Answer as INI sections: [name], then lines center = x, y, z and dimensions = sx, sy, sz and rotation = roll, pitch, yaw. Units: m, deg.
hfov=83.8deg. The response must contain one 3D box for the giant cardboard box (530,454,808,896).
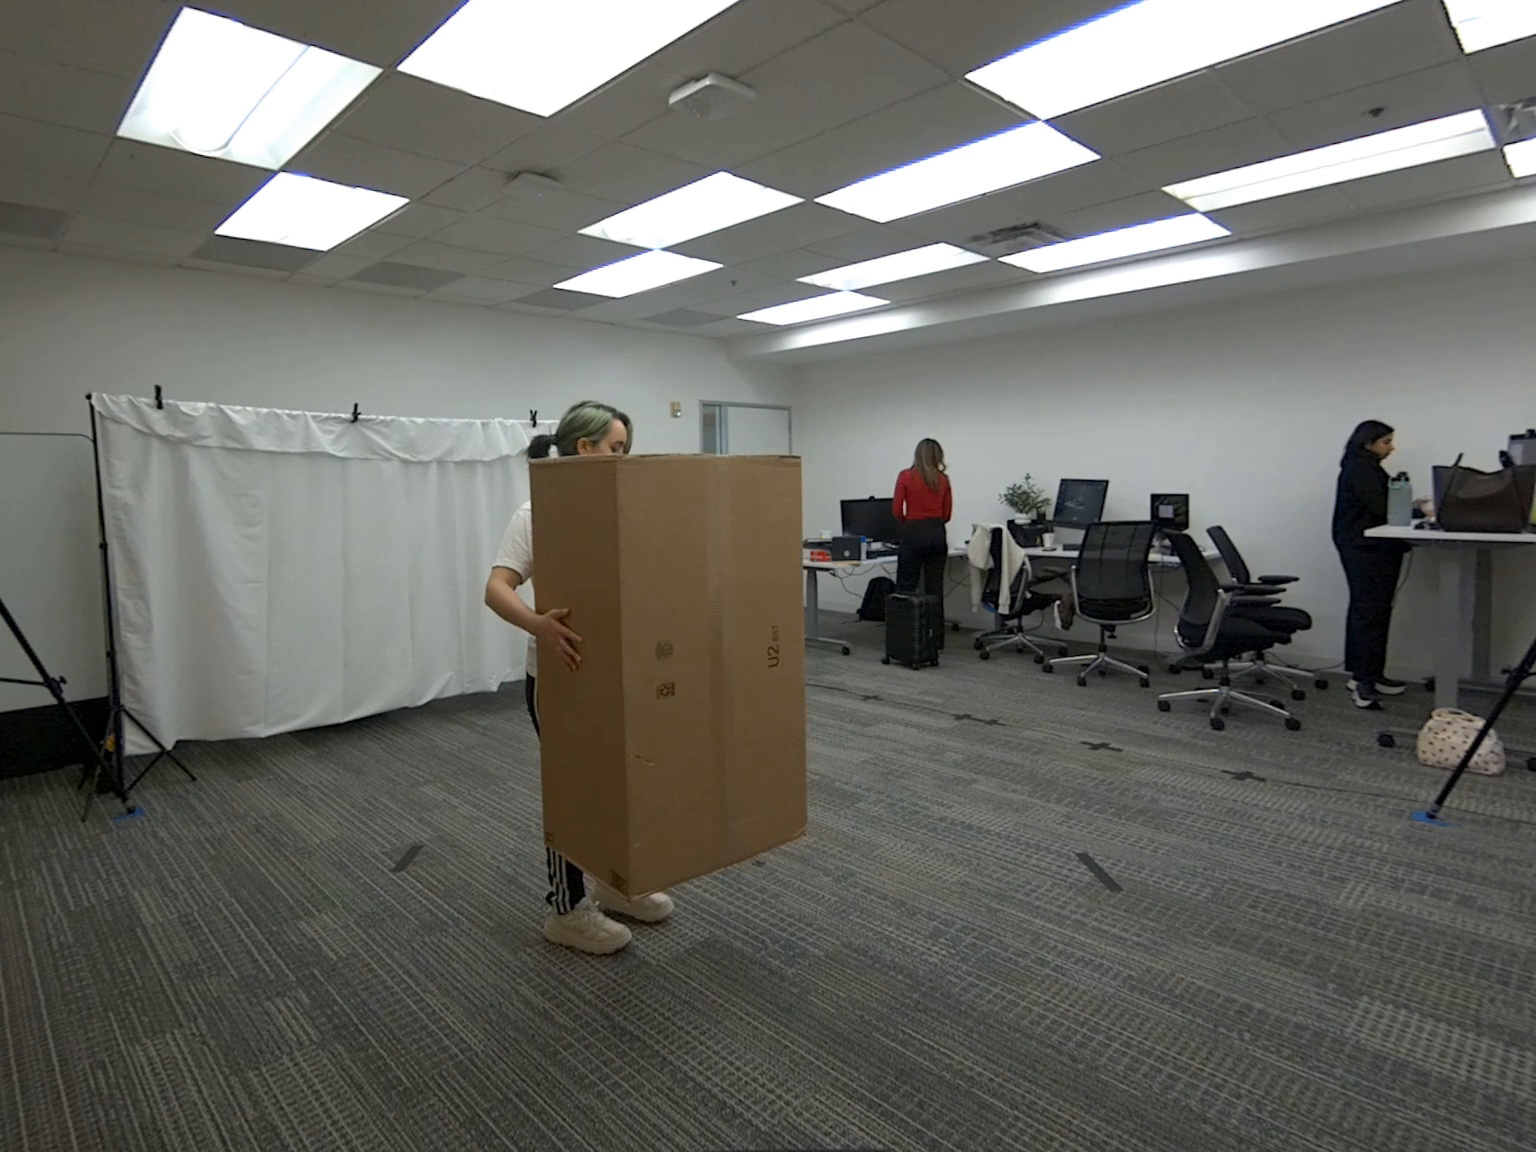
[giant cardboard box]
center = -0.251, 0.201, 2.249
dimensions = 0.562, 1.022, 0.439
rotation = -5, 5, -40
